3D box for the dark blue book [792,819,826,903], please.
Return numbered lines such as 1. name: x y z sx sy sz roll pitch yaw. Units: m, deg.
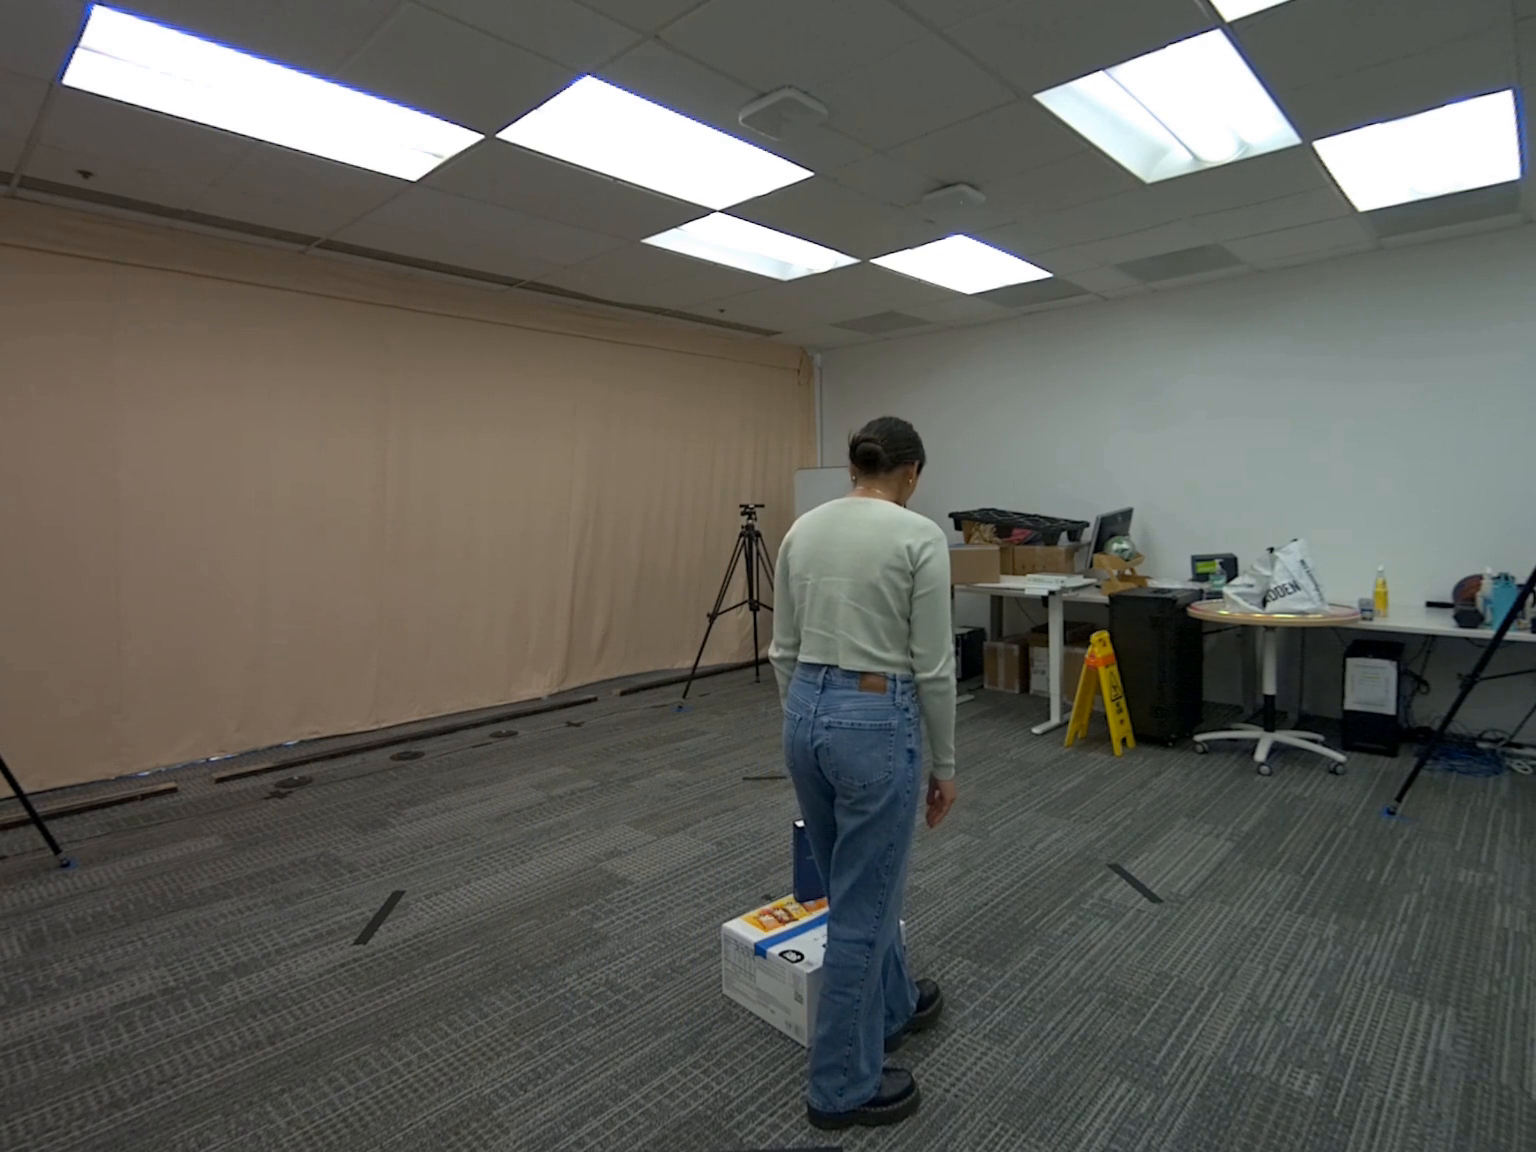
1. dark blue book: 0.160 0.855 2.546 0.160 0.244 0.046 -3 5 -24
